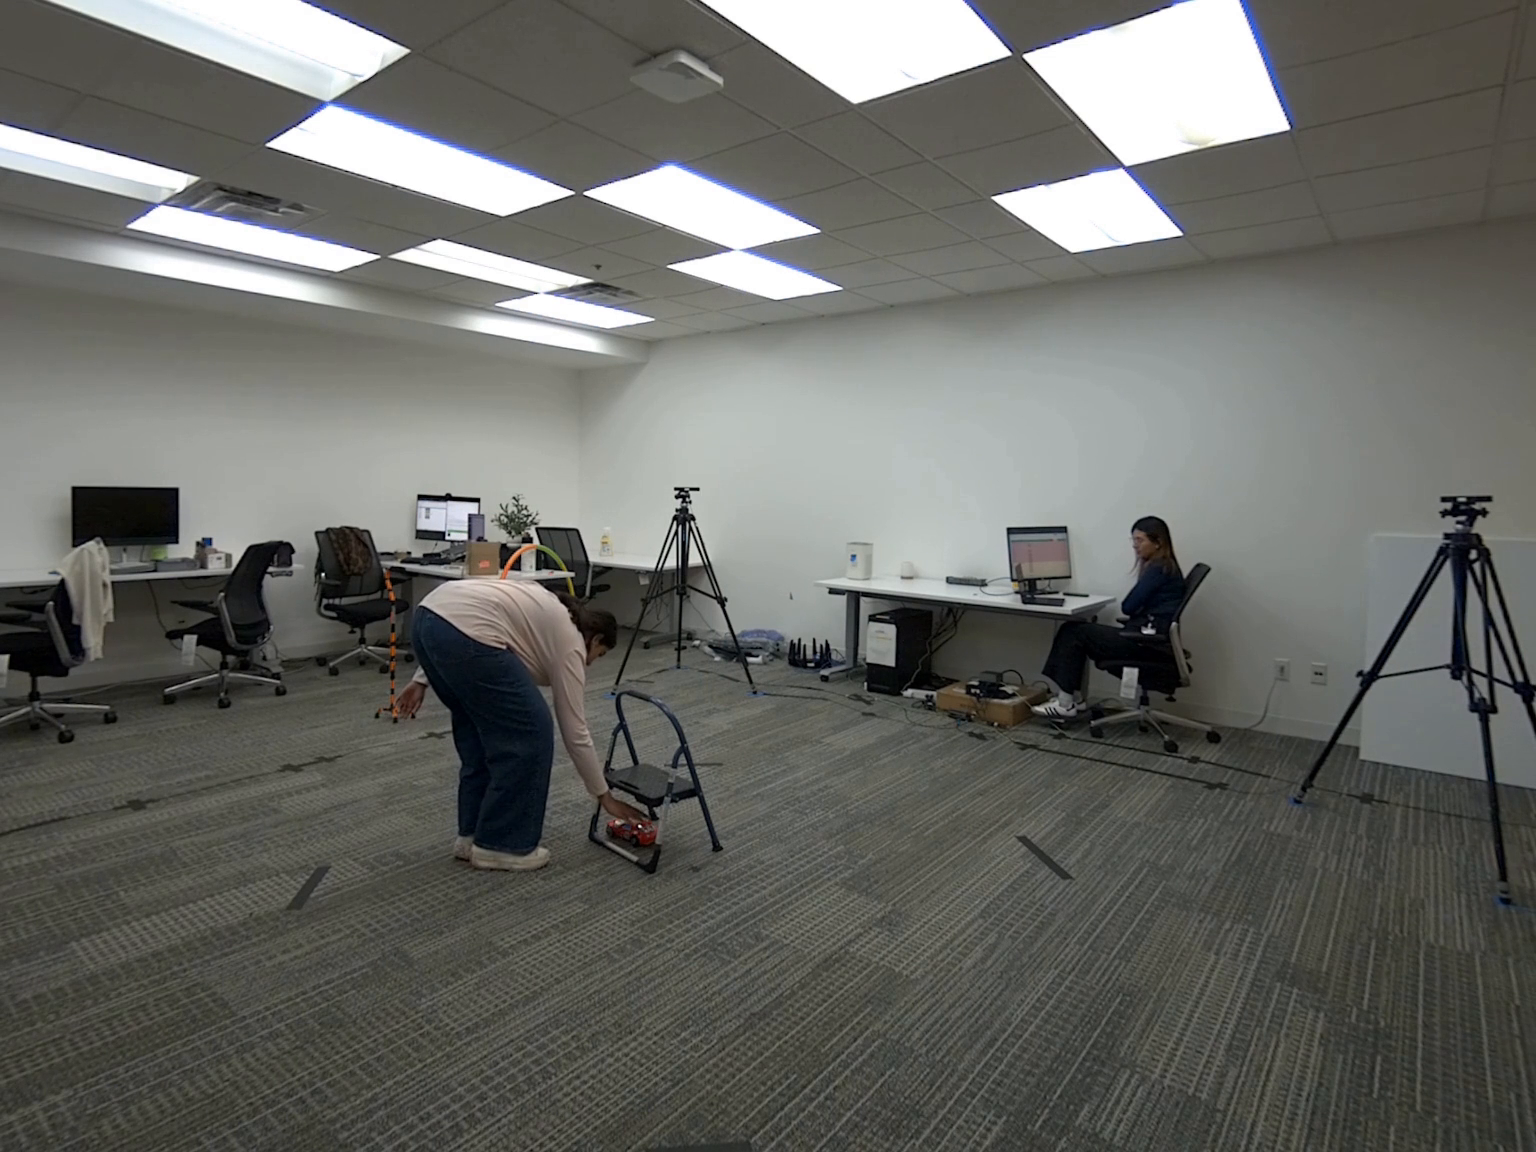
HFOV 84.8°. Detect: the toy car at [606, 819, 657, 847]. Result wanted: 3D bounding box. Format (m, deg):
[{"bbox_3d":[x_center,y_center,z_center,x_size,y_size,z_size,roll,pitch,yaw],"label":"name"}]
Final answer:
[{"bbox_3d":[-0.532,1.002,3.343,0.261,0.083,0.126,-8,-3,40],"label":"toy car"}]
